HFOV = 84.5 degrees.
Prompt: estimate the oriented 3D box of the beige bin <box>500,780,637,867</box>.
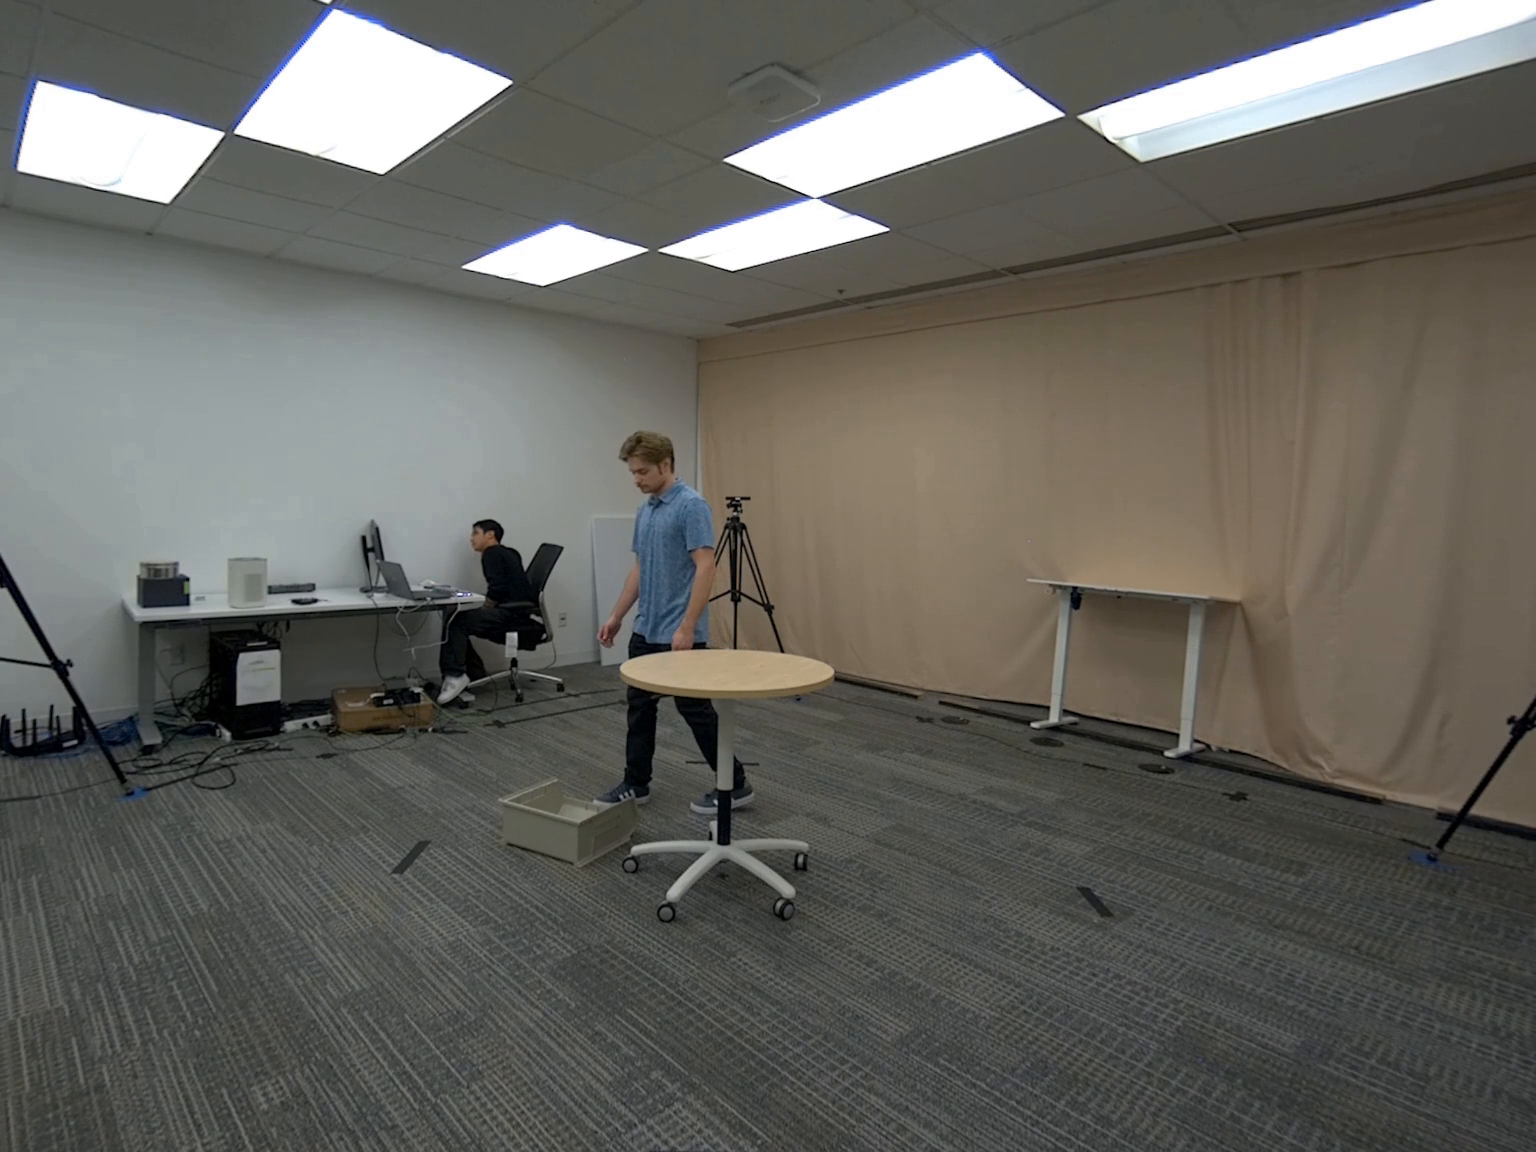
[{"bbox_3d":[-0.806,0.977,3.395,0.432,0.188,0.370,5,7,30],"label":"beige bin"}]
